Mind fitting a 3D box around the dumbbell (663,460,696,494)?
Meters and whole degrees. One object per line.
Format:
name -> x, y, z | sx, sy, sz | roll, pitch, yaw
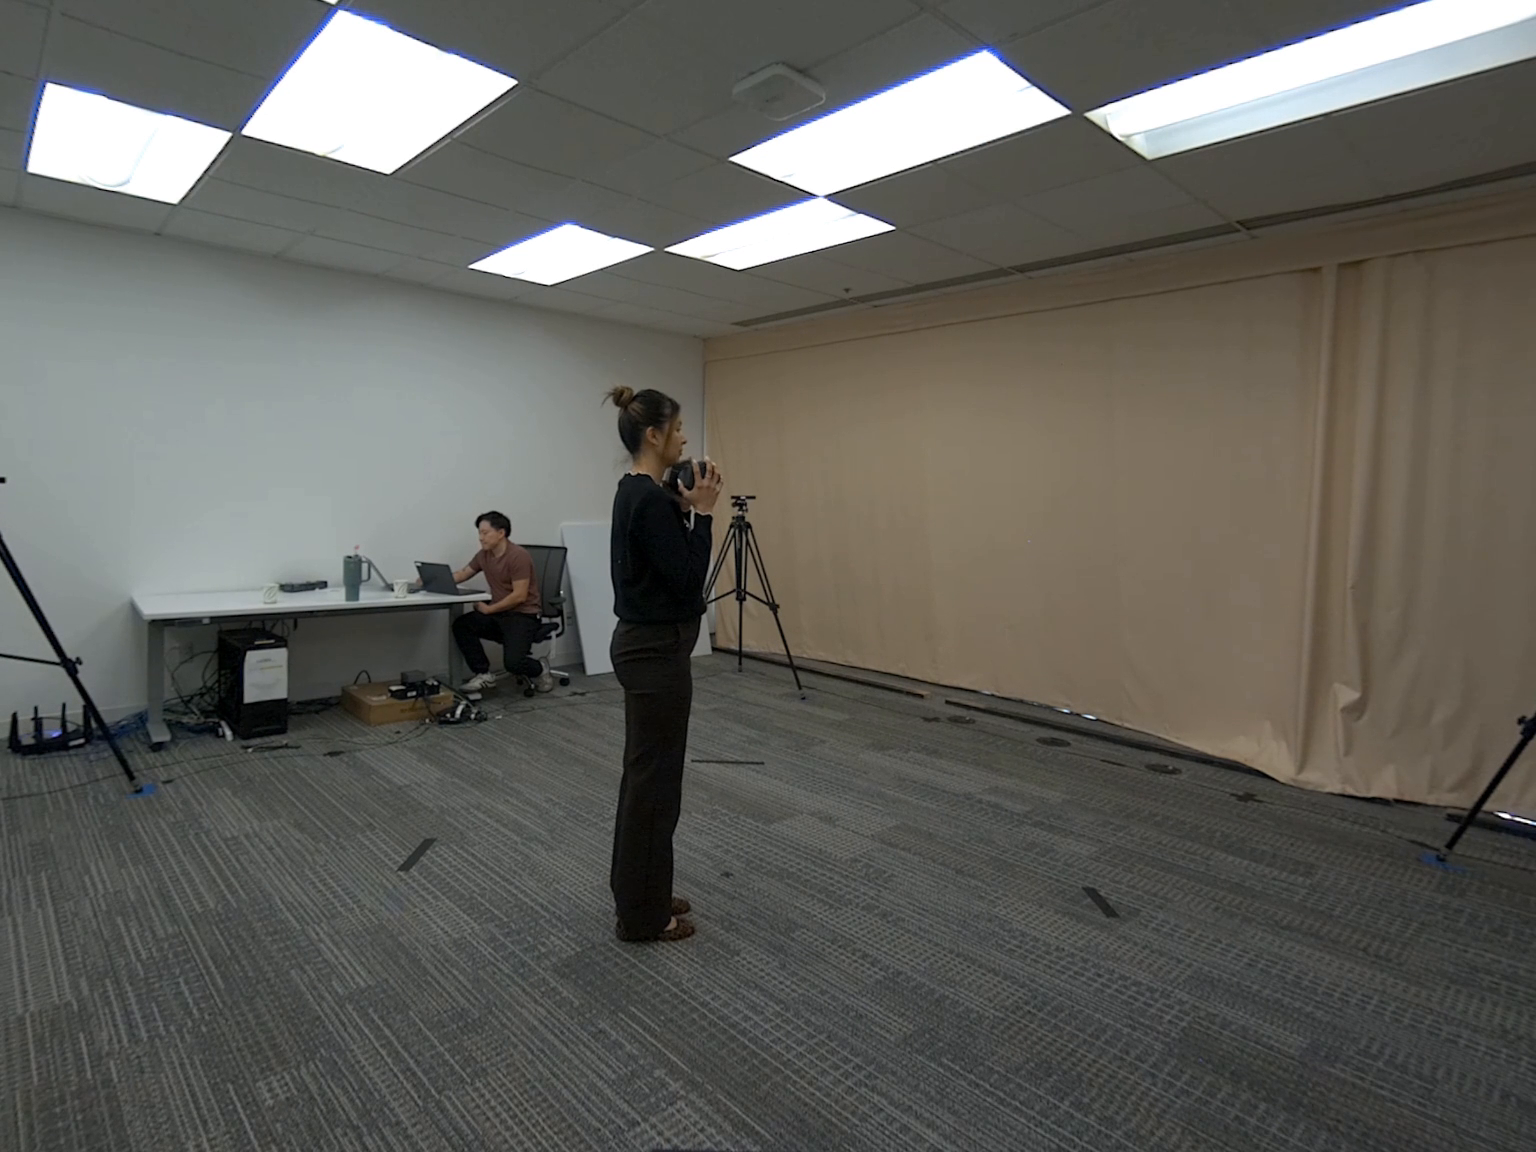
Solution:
dumbbell -> -0.261, -0.300, 2.655 | 0.106, 0.123, 0.300 | 29, -1, -25
